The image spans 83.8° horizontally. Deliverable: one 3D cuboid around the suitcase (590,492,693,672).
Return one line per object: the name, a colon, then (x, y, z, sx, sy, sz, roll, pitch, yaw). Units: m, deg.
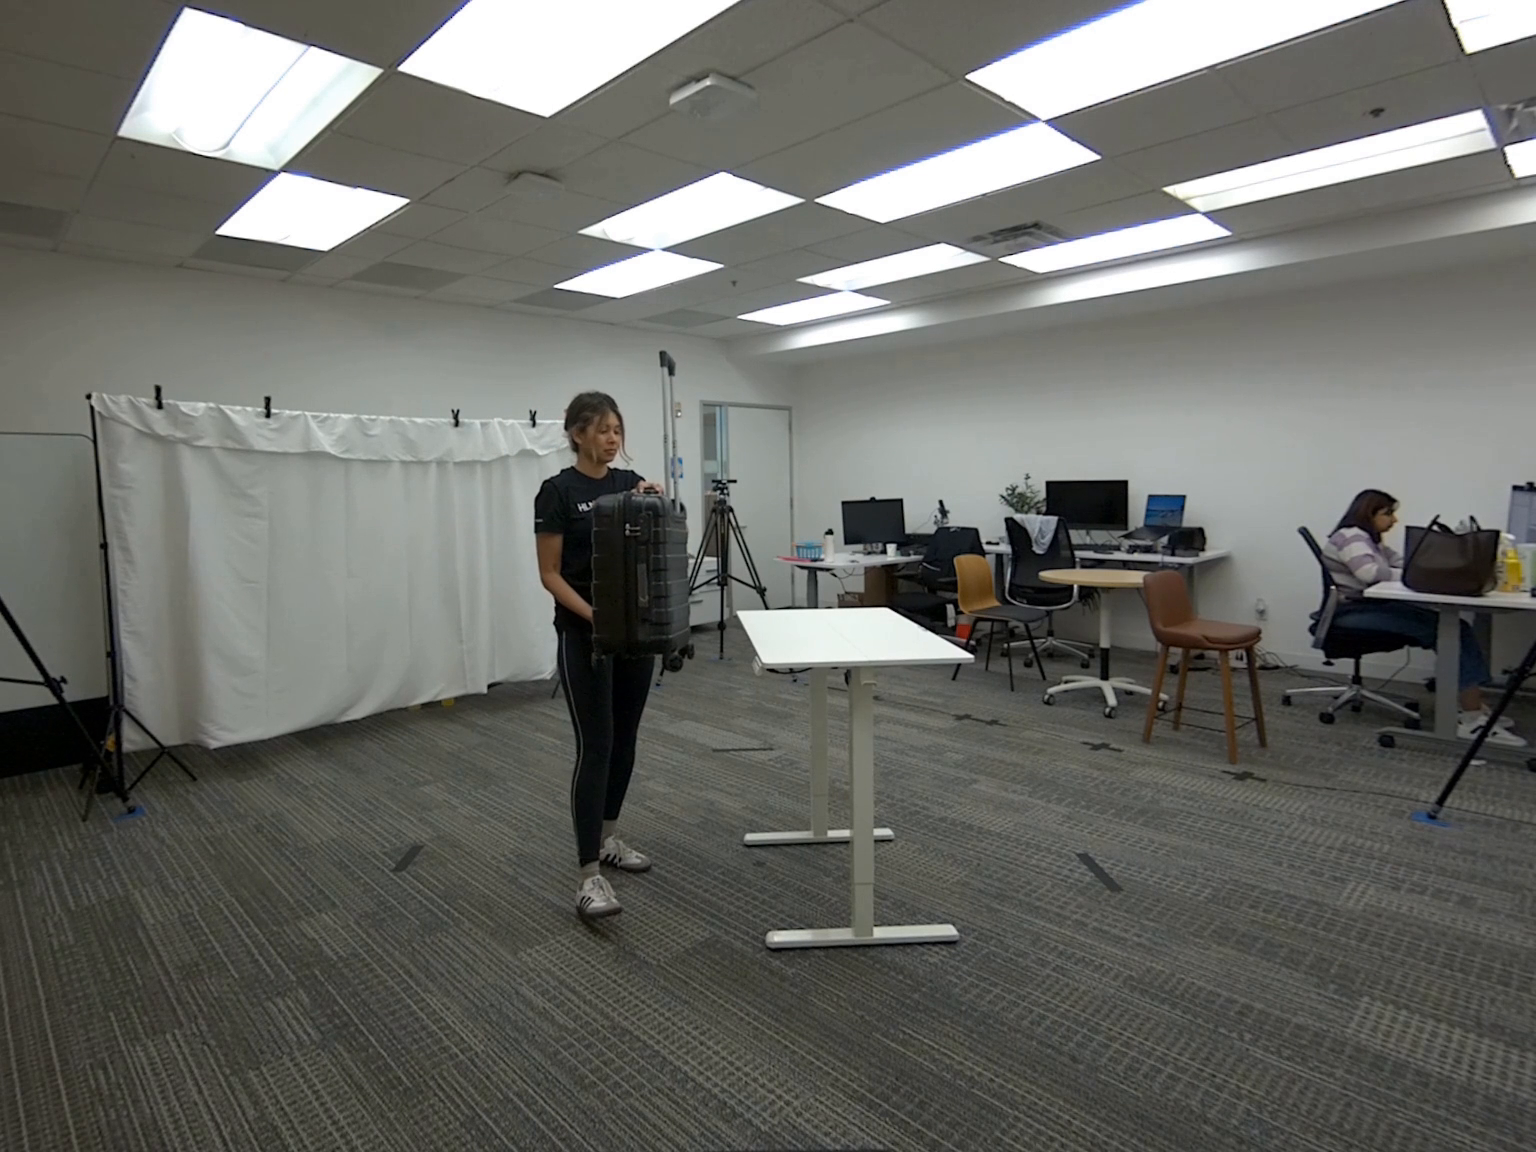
suitcase: (-0.406, -0.208, 2.713, 0.259, 0.981, 0.379, -4, -2, 10)
